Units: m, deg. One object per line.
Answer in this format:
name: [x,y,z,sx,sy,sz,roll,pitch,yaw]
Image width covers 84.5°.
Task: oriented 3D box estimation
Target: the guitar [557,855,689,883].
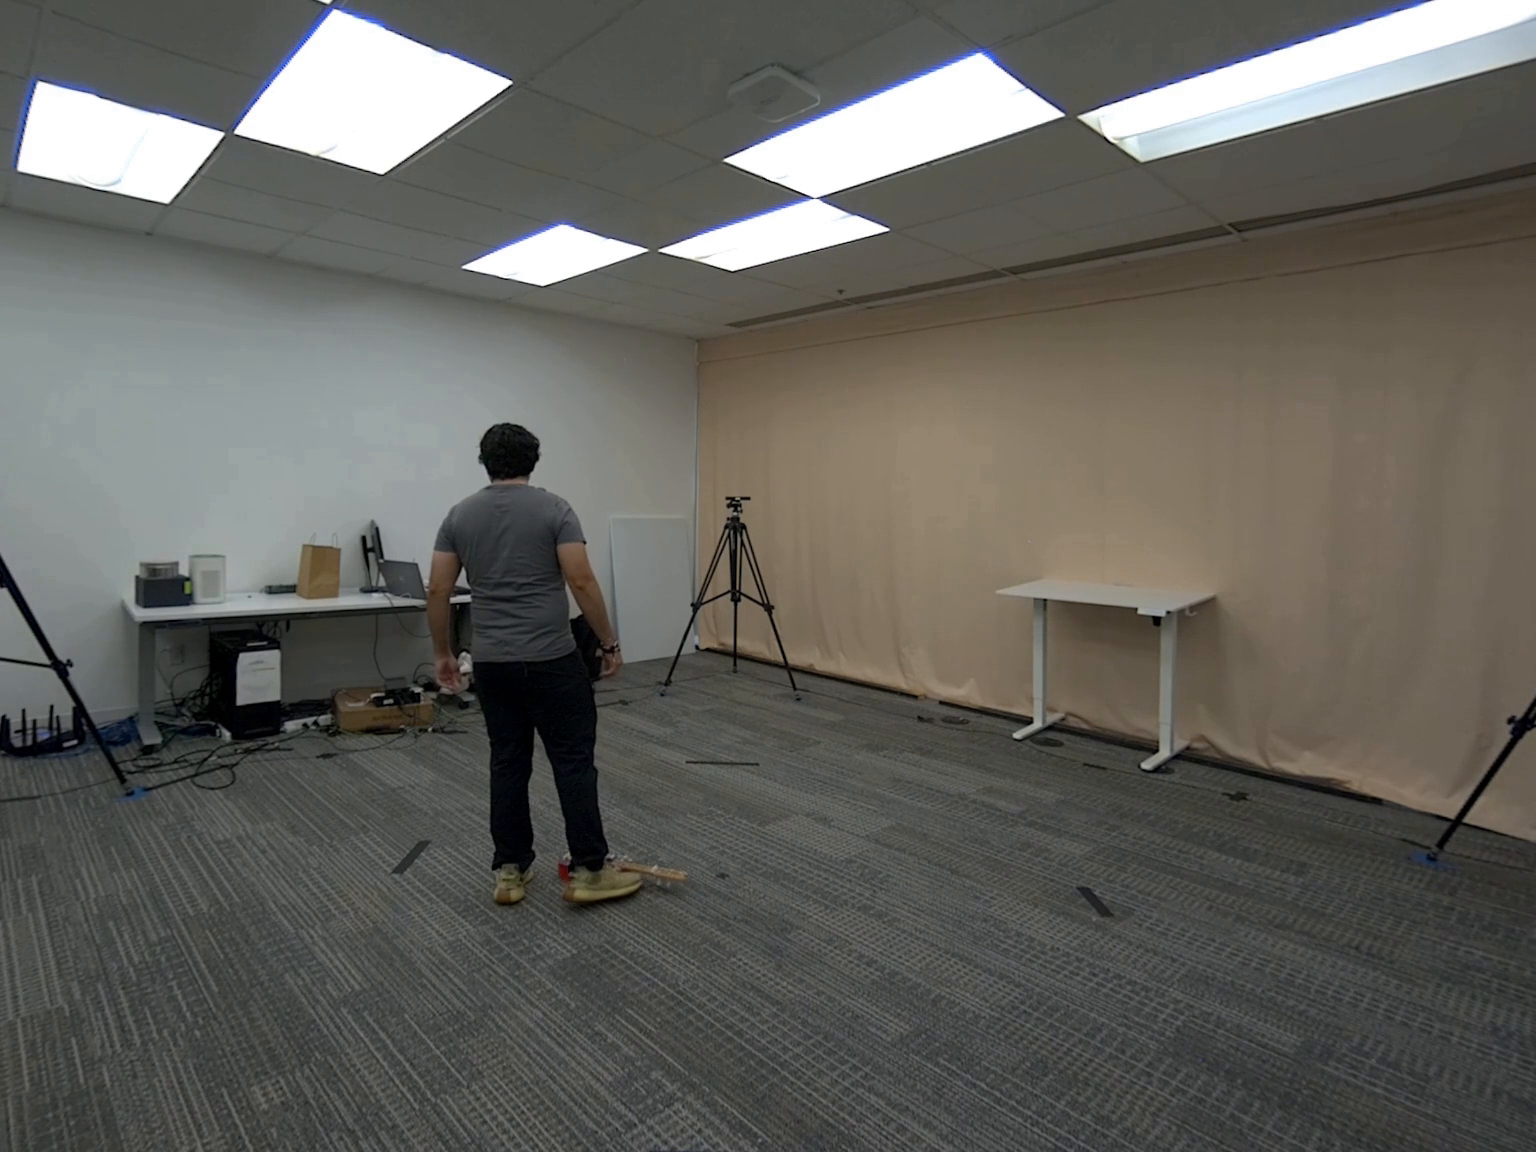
guitar: [-0.544,1.073,3.021,0.509,0.070,0.189,4,5,30]
